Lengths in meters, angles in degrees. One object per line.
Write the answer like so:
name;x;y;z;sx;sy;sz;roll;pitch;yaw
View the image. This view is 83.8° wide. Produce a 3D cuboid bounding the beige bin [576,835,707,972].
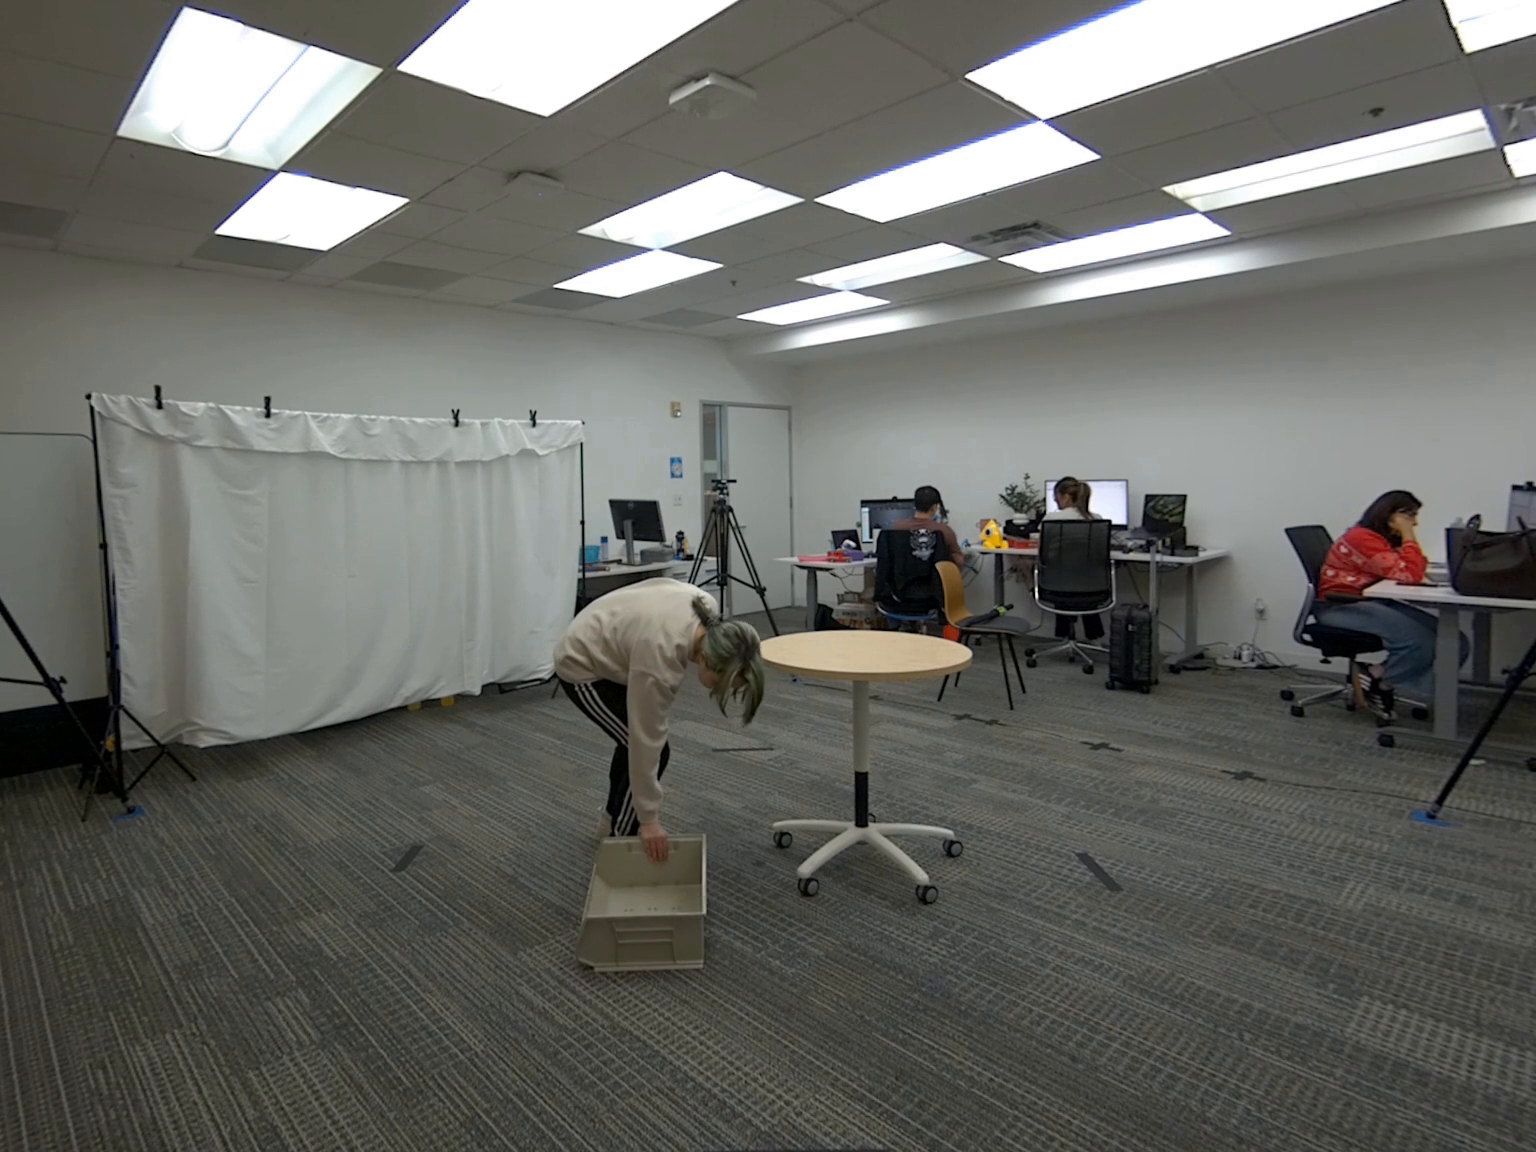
beige bin;-0.379;0.998;2.626;0.376;0.187;0.427;-1;11;-4
